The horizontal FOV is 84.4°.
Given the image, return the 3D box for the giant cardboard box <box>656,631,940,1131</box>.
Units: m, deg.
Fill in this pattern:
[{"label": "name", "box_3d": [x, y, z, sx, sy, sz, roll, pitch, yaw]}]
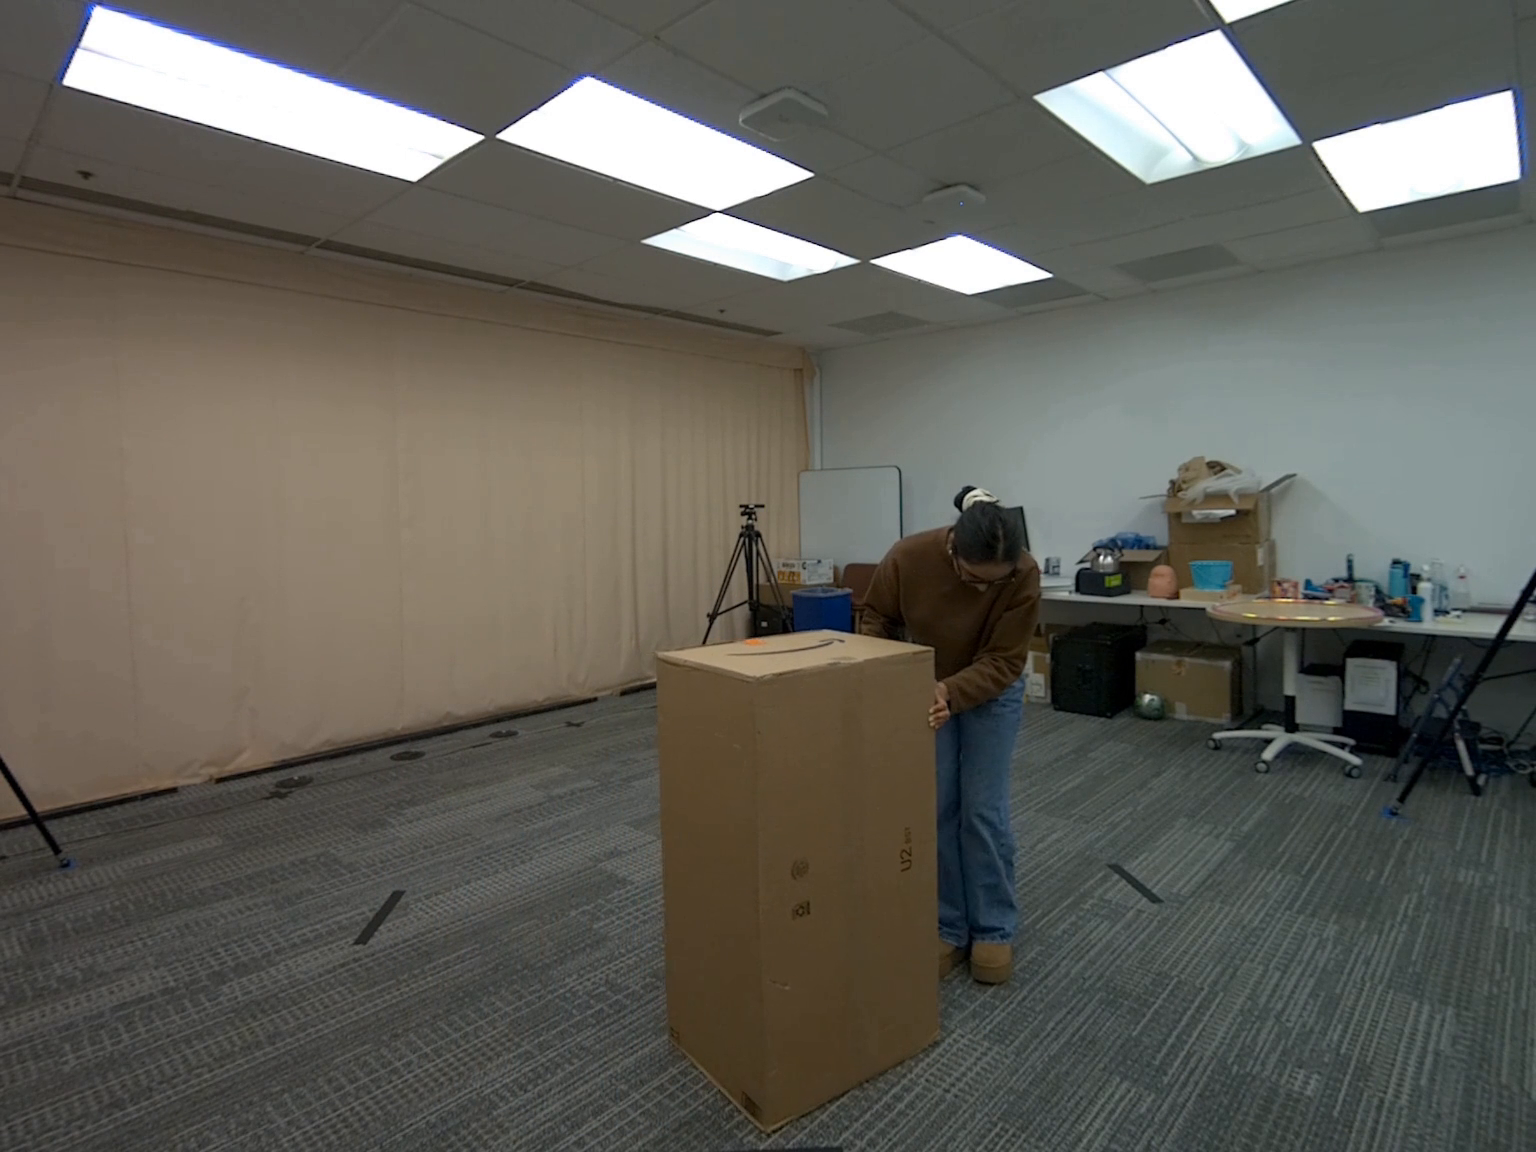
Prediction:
[{"label": "giant cardboard box", "box_3d": [0.079, 0.700, 2.162, 0.561, 1.024, 0.439, -3, 4, -35]}]
